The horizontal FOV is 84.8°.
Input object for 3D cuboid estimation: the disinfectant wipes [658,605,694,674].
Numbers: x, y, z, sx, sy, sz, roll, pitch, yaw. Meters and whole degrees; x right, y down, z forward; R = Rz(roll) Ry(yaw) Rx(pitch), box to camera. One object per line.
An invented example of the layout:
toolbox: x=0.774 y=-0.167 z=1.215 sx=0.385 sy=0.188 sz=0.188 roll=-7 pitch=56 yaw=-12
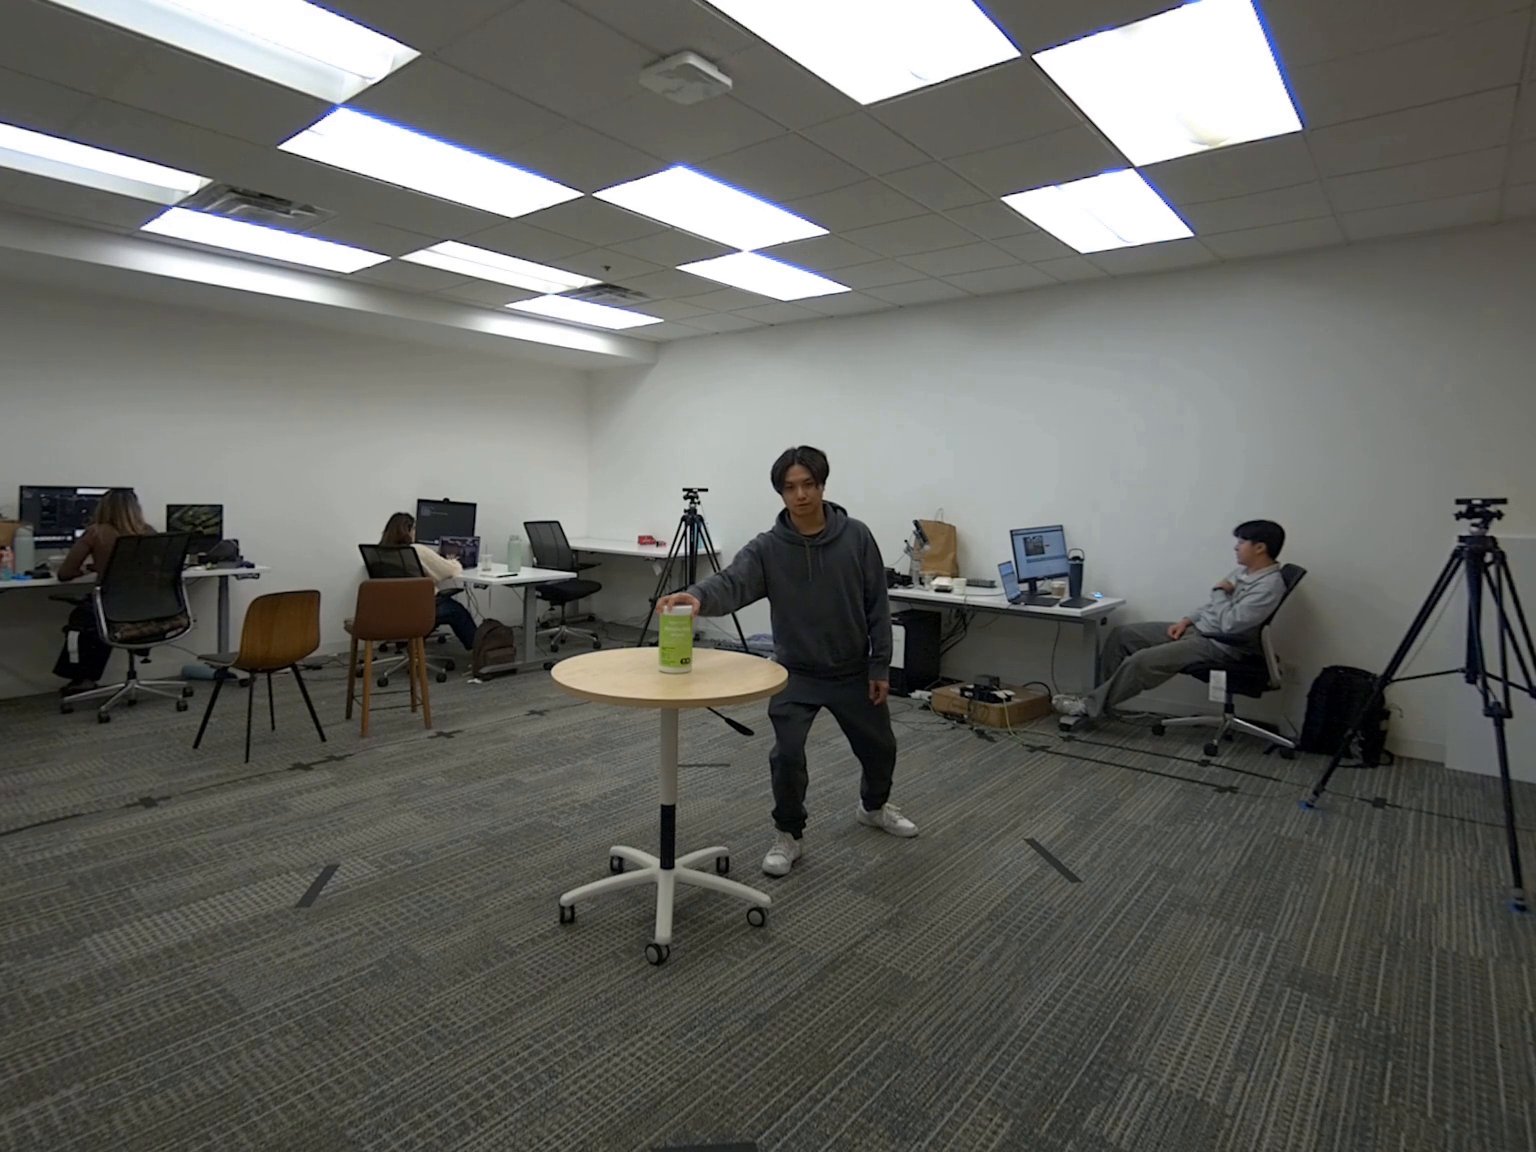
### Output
disinfectant wipes: x=-0.312 y=0.200 z=2.758 sx=0.118 sy=0.217 sz=0.118 roll=1 pitch=2 yaw=-2
